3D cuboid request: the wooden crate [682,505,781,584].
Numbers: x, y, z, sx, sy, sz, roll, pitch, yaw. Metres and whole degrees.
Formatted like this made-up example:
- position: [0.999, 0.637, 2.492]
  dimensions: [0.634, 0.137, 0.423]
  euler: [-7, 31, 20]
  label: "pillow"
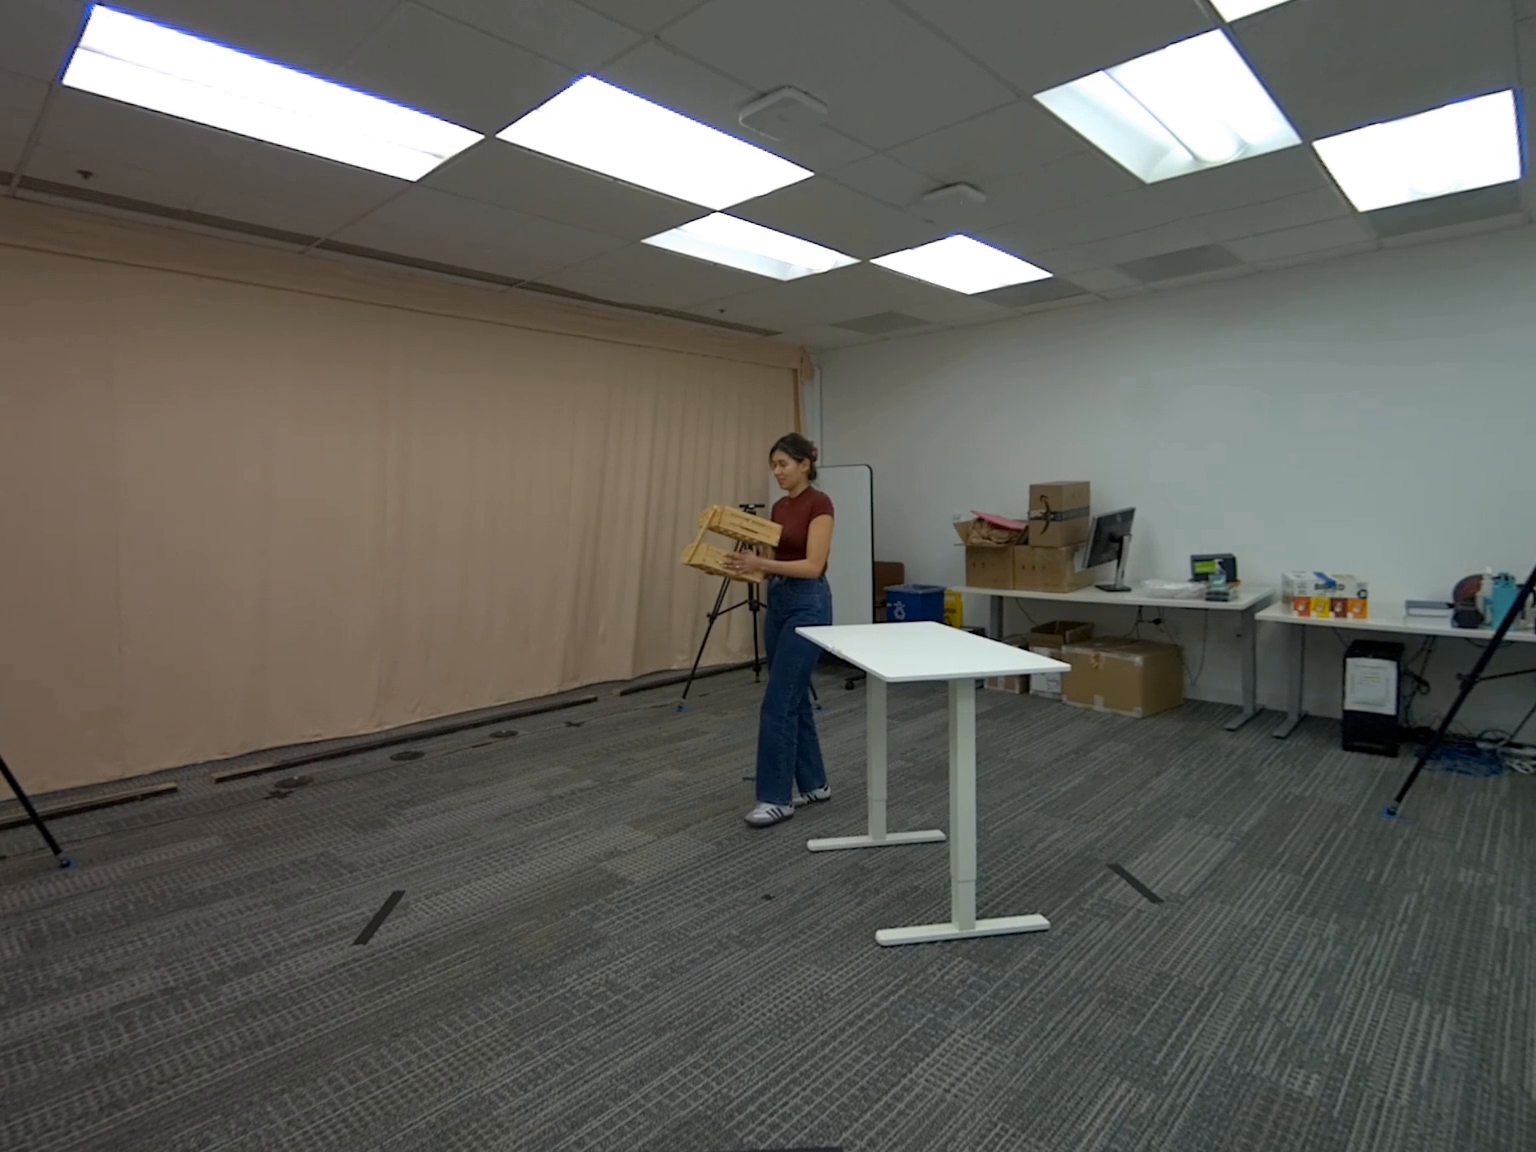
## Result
- position: [-0.167, -0.139, 3.684]
  dimensions: [0.316, 0.274, 0.310]
  euler: [18, -7, -26]
  label: "wooden crate"
